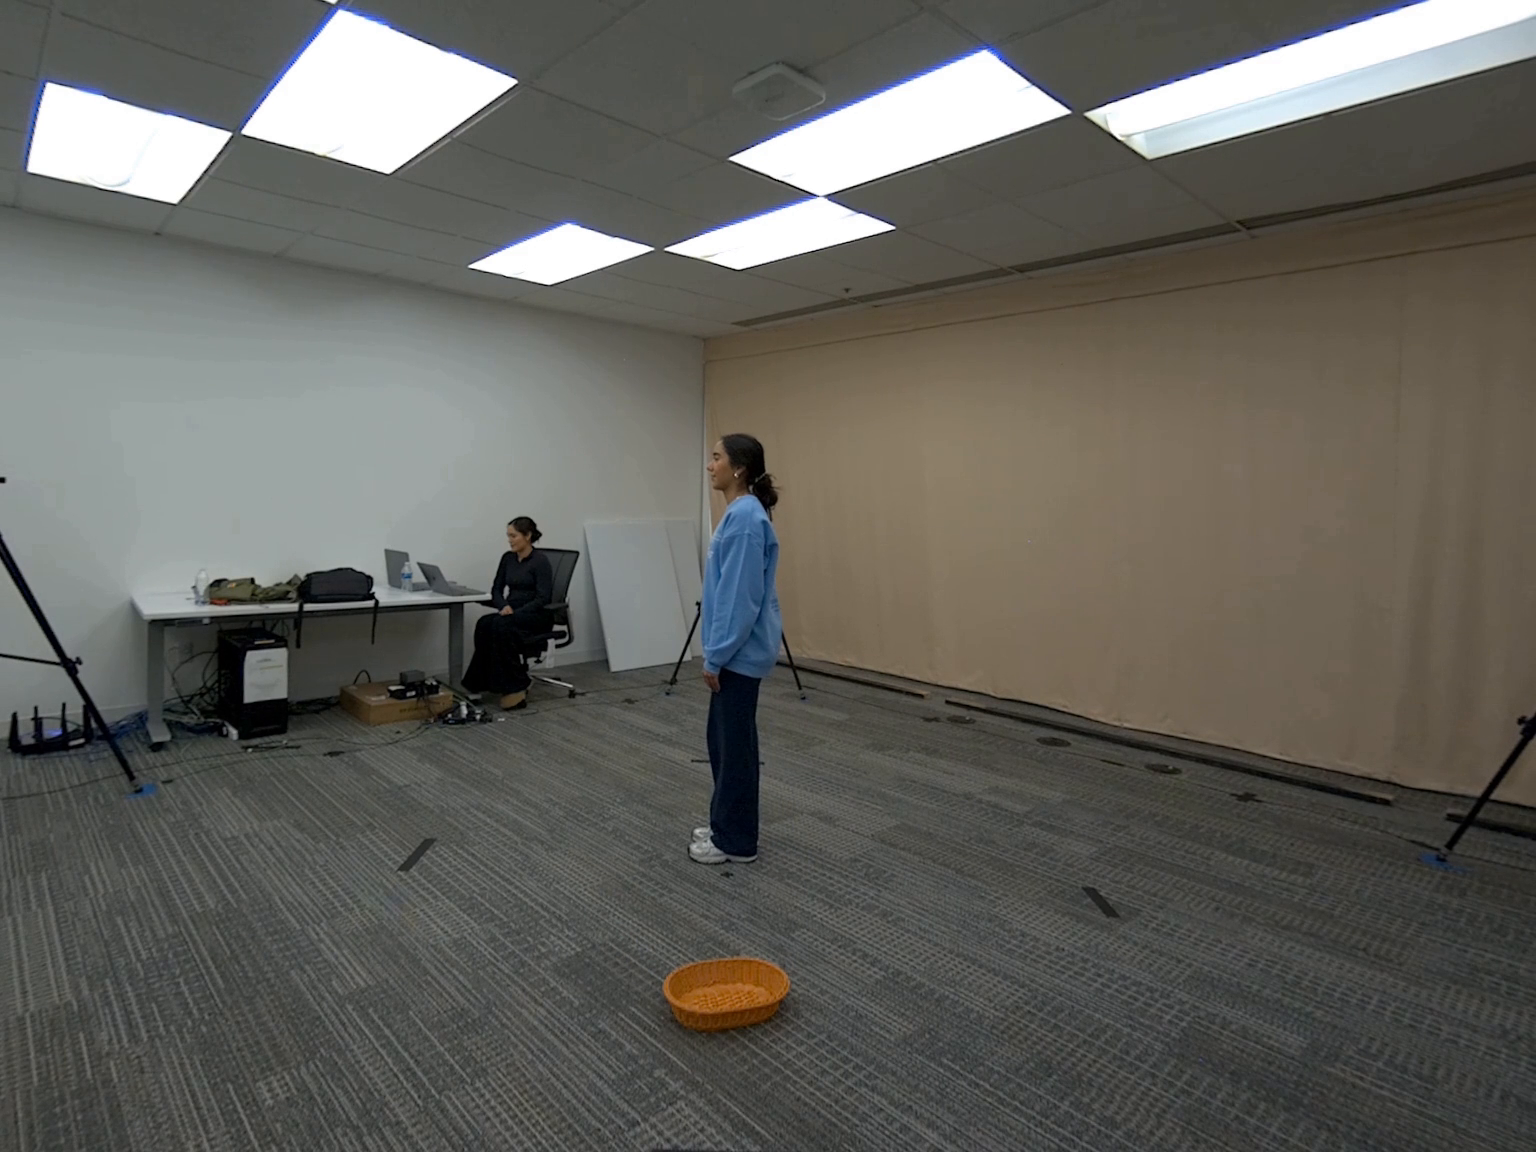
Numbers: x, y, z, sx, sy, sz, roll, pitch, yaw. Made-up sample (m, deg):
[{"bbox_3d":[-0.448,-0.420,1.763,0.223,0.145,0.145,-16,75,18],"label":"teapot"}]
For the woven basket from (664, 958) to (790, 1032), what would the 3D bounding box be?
[{"bbox_3d":[-0.123,1.143,2.290,0.346,0.073,0.256,0,4,-18],"label":"woven basket"}]
